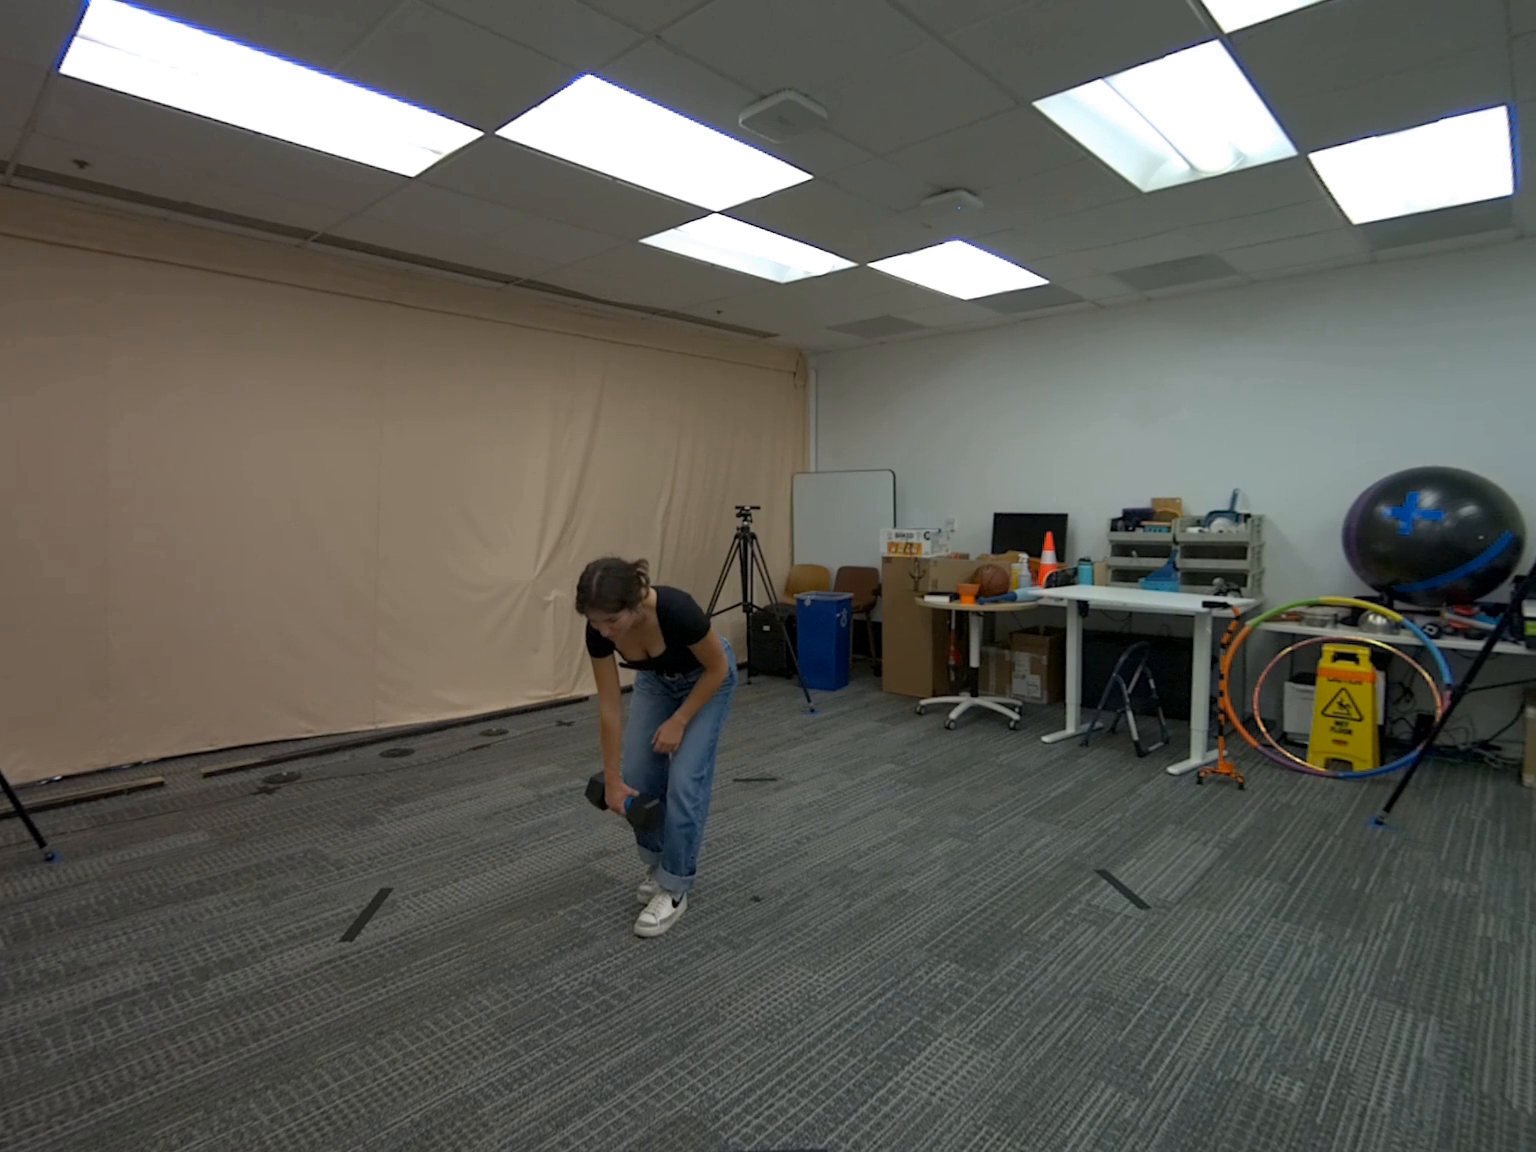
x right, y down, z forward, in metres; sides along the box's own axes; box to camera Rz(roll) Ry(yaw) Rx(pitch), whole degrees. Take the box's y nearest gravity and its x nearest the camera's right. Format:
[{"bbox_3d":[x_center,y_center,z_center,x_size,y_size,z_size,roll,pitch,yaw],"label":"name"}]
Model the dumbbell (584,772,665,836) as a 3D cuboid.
[{"bbox_3d":[-0.473,0.746,2.792,0.304,0.119,0.108,11,49,39],"label":"dumbbell"}]
